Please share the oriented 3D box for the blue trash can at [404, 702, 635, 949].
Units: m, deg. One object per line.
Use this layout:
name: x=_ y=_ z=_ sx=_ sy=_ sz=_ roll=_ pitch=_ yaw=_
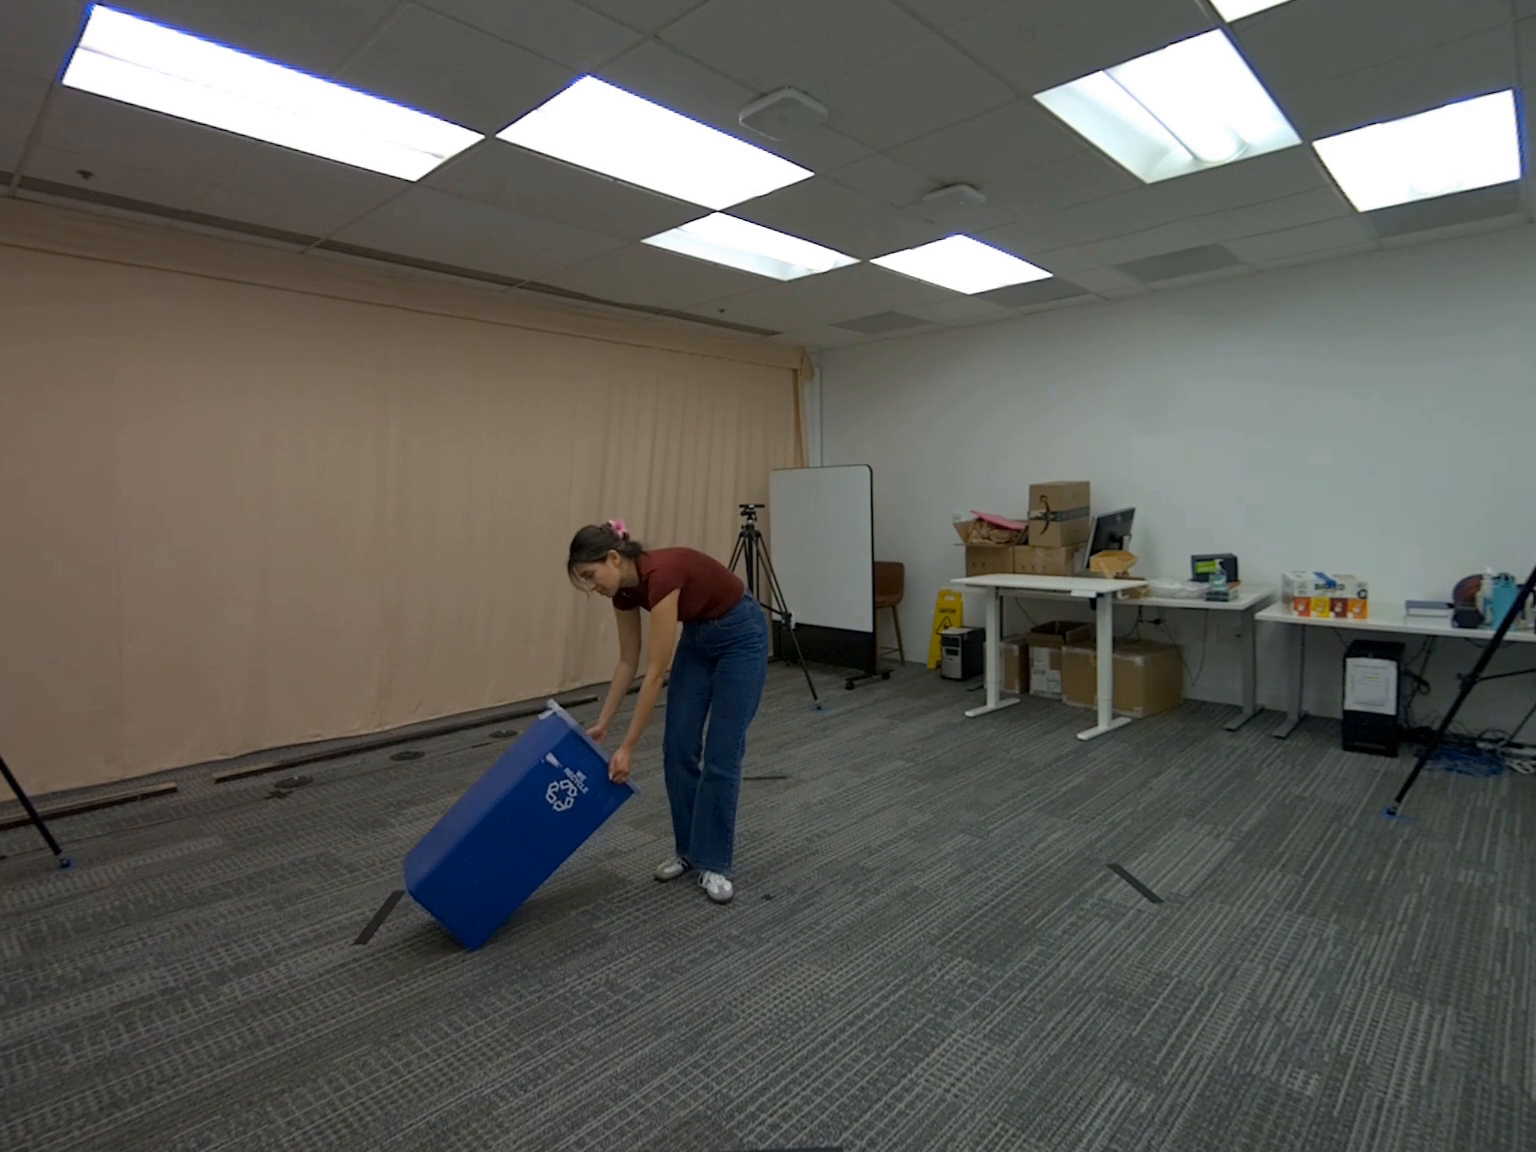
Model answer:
blue trash can: x=-0.828 y=0.829 z=2.848 sx=0.710 sy=0.366 sz=0.388 roll=-46 pitch=20 yaw=-15
